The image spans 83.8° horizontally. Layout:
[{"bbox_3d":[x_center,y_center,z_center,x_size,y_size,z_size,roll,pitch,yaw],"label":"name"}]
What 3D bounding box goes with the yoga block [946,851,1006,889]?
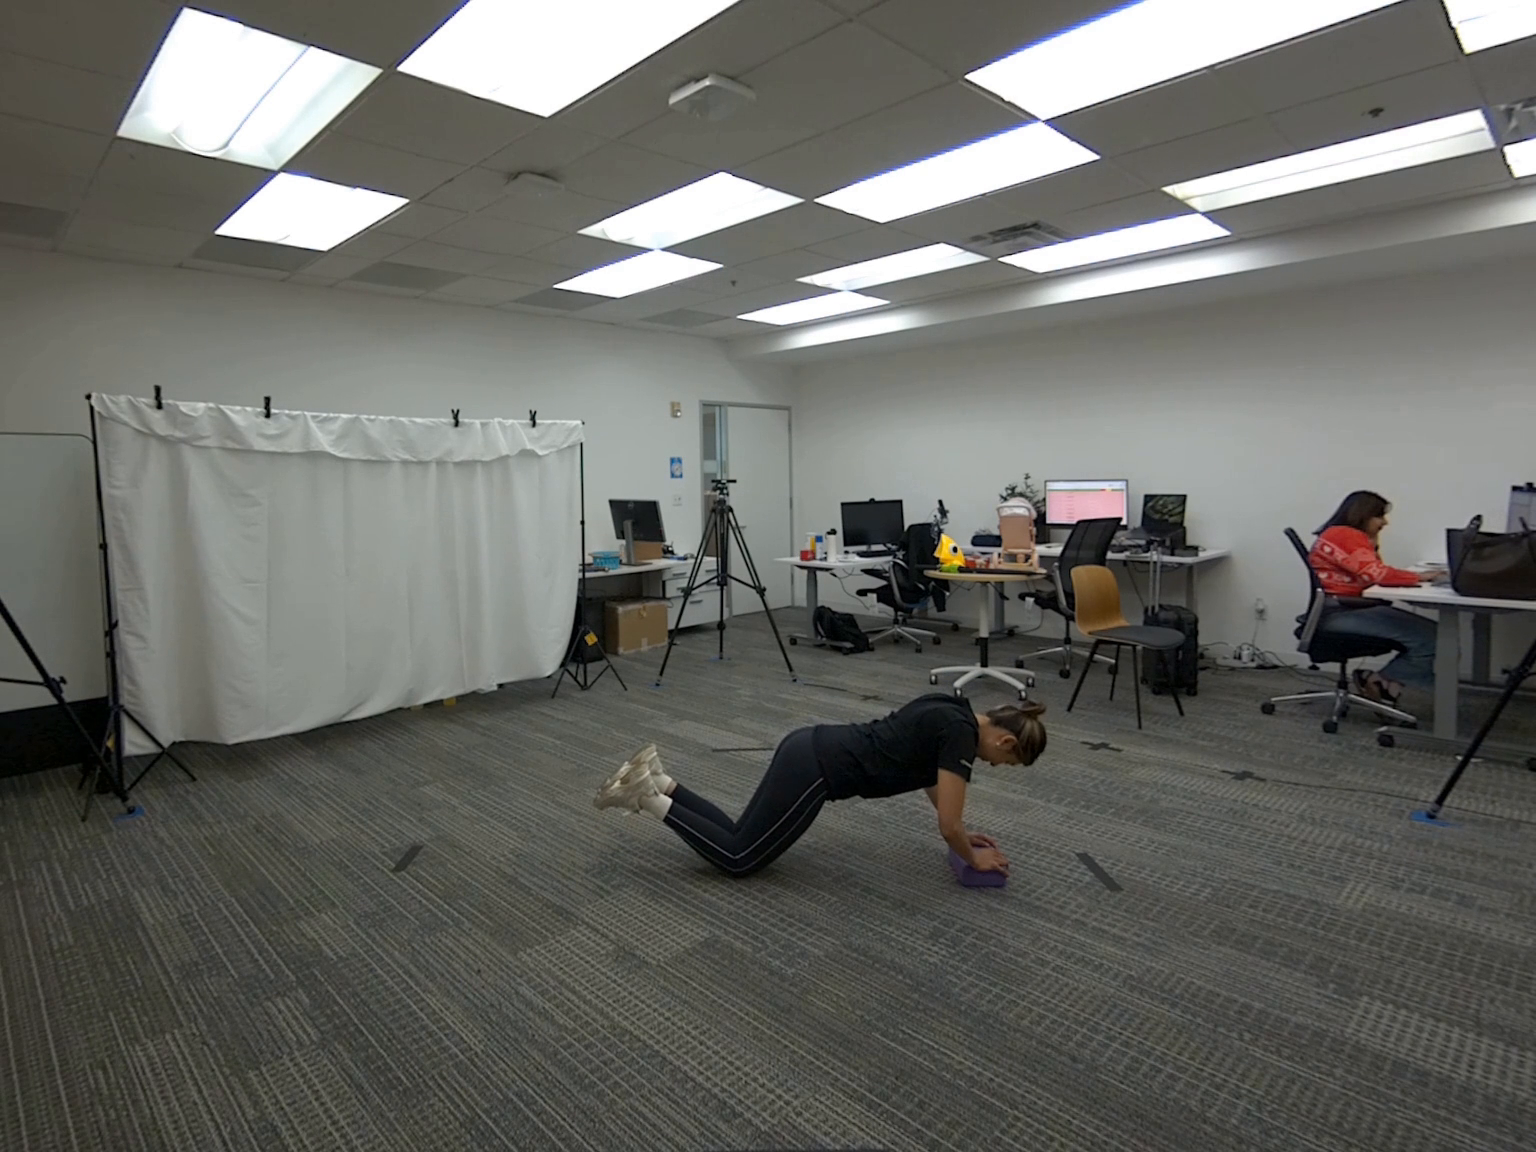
[{"bbox_3d":[0.730,0.997,3.002,0.149,0.076,0.230,3,7,0],"label":"yoga block"}]
